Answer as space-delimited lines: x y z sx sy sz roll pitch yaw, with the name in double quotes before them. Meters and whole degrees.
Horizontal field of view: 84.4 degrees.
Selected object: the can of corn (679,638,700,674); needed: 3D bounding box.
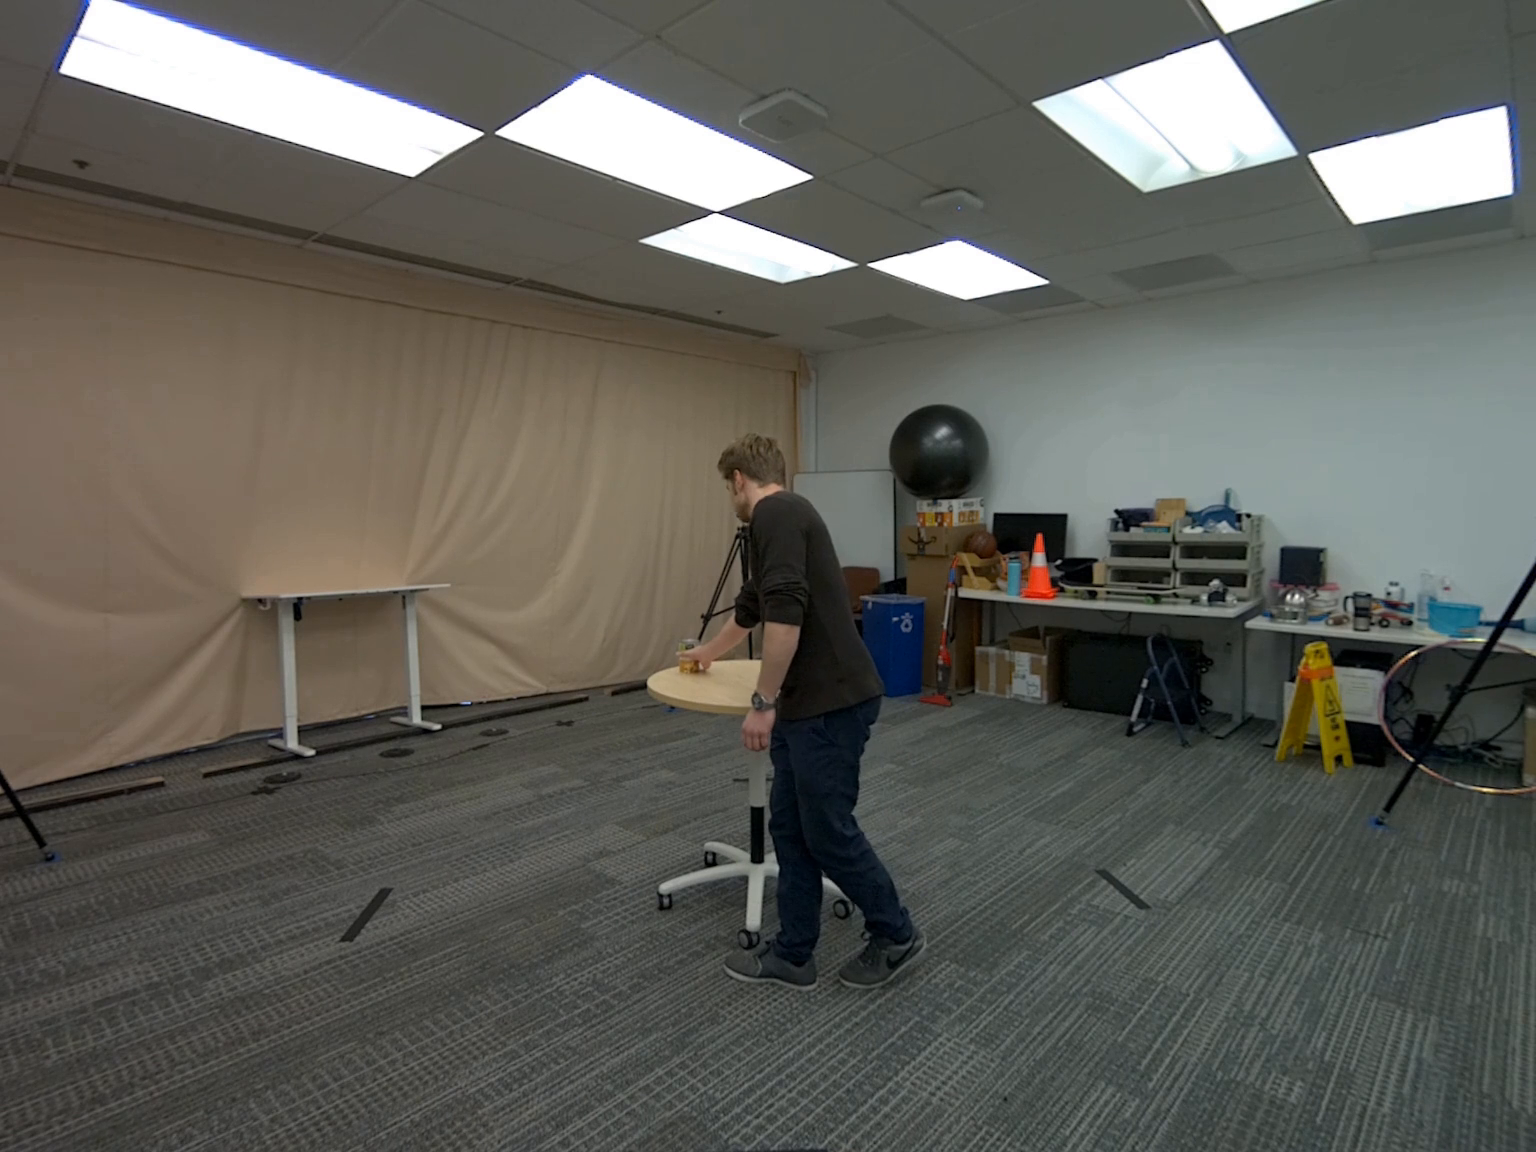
"can of corn" -0.290 0.296 3.087 0.074 0.111 0.074 -1 4 -2
